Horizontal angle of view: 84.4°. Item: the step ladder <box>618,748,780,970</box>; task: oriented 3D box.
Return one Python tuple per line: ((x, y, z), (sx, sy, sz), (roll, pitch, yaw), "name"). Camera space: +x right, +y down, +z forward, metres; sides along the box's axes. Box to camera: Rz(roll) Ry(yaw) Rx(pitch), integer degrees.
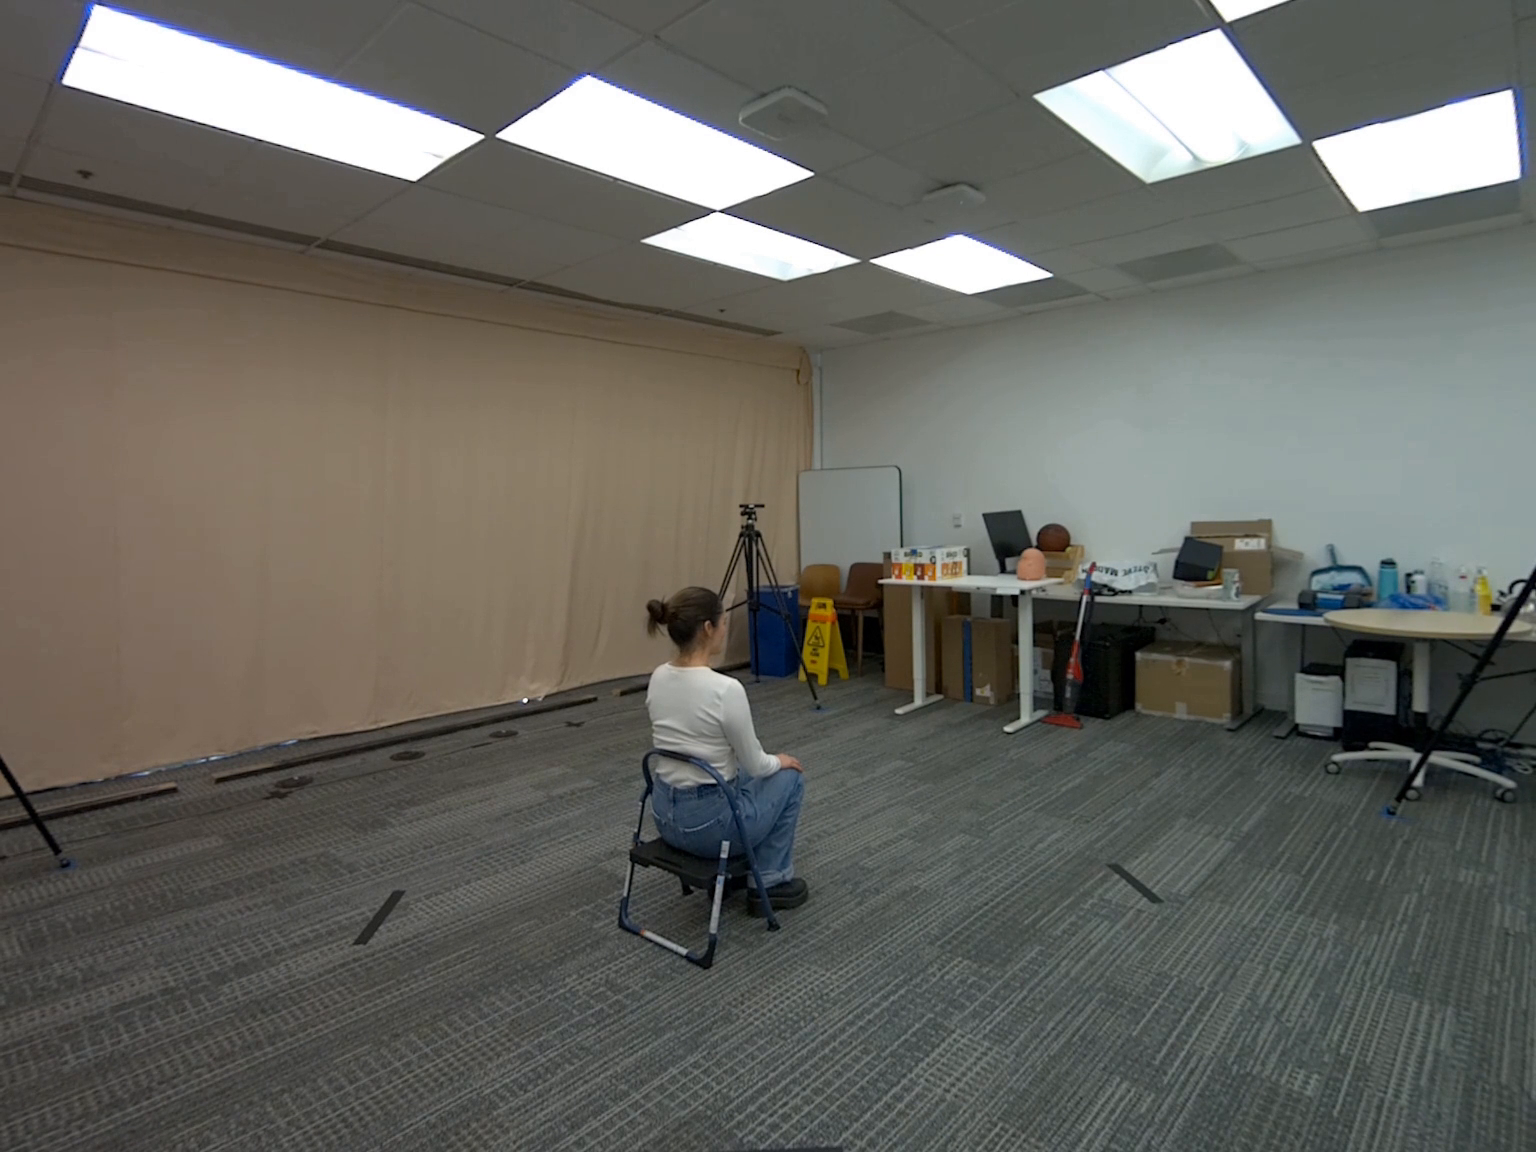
((-0.240, 0.858, 2.766), (0.445, 0.605, 0.339), (2, 4, 41), "step ladder")
